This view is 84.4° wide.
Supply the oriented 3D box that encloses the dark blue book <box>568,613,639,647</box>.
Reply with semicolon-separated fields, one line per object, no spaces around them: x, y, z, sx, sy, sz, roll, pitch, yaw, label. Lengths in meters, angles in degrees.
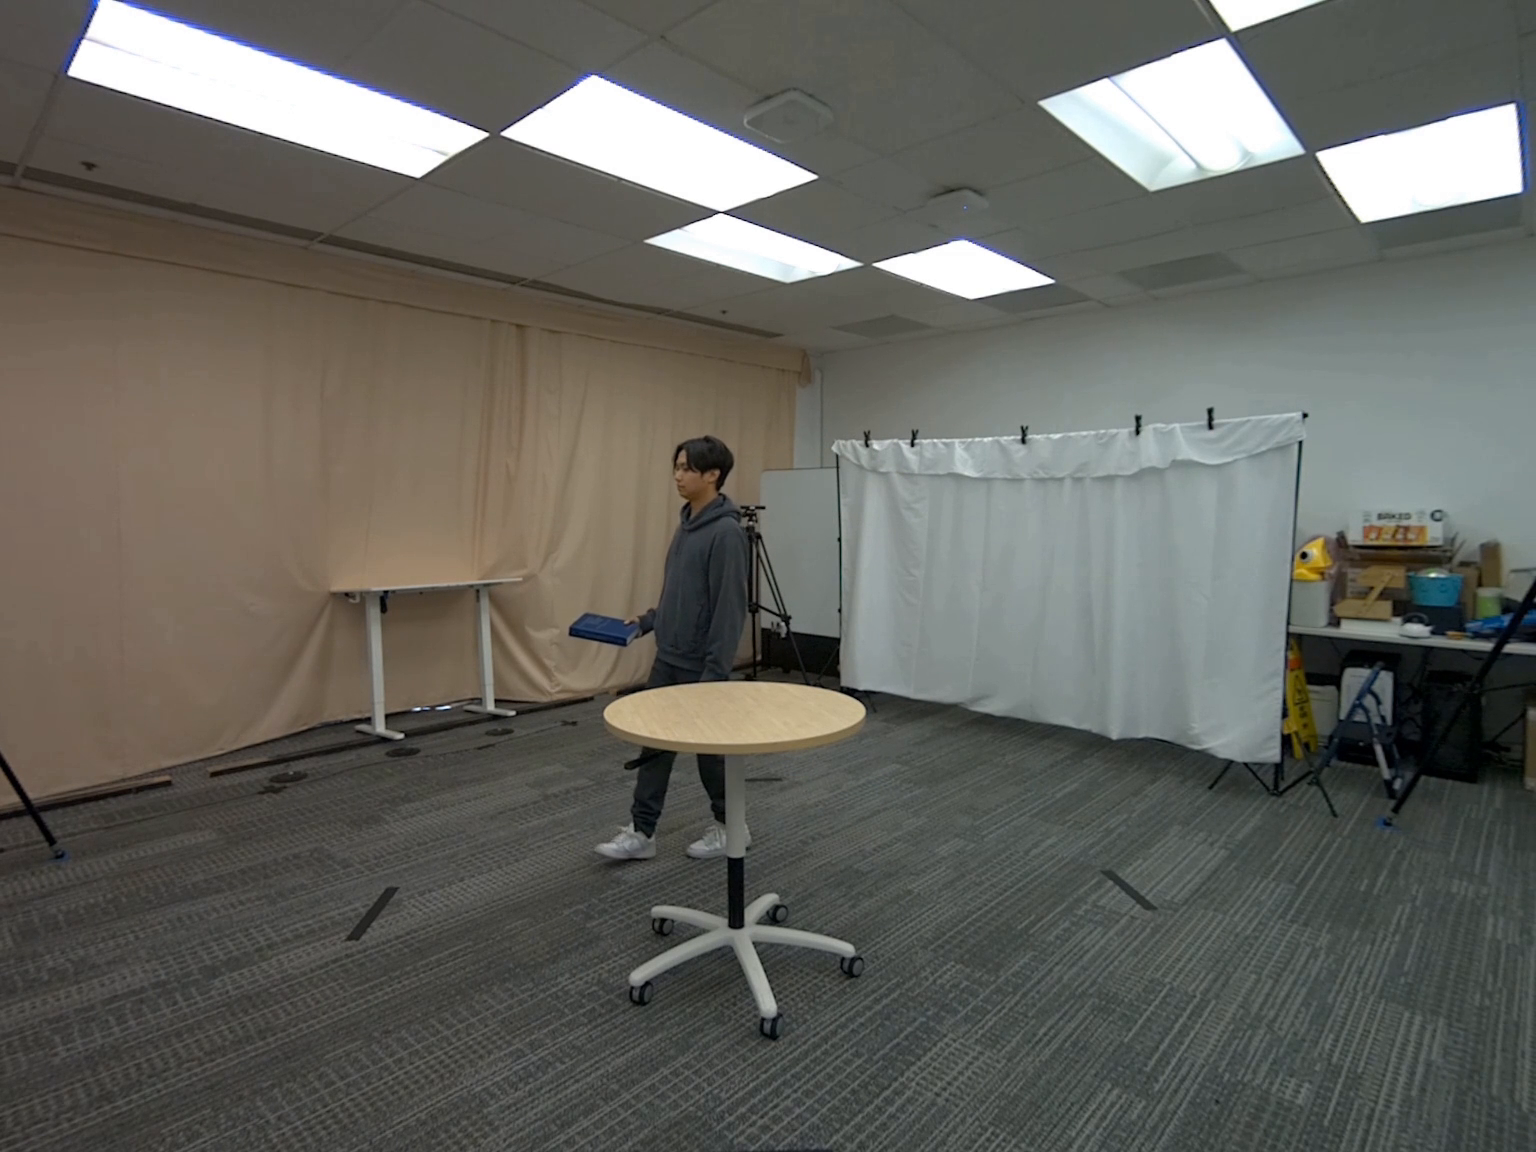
-0.648;0.217;3.386;0.248;0.045;0.163;8;17;10;dark blue book
